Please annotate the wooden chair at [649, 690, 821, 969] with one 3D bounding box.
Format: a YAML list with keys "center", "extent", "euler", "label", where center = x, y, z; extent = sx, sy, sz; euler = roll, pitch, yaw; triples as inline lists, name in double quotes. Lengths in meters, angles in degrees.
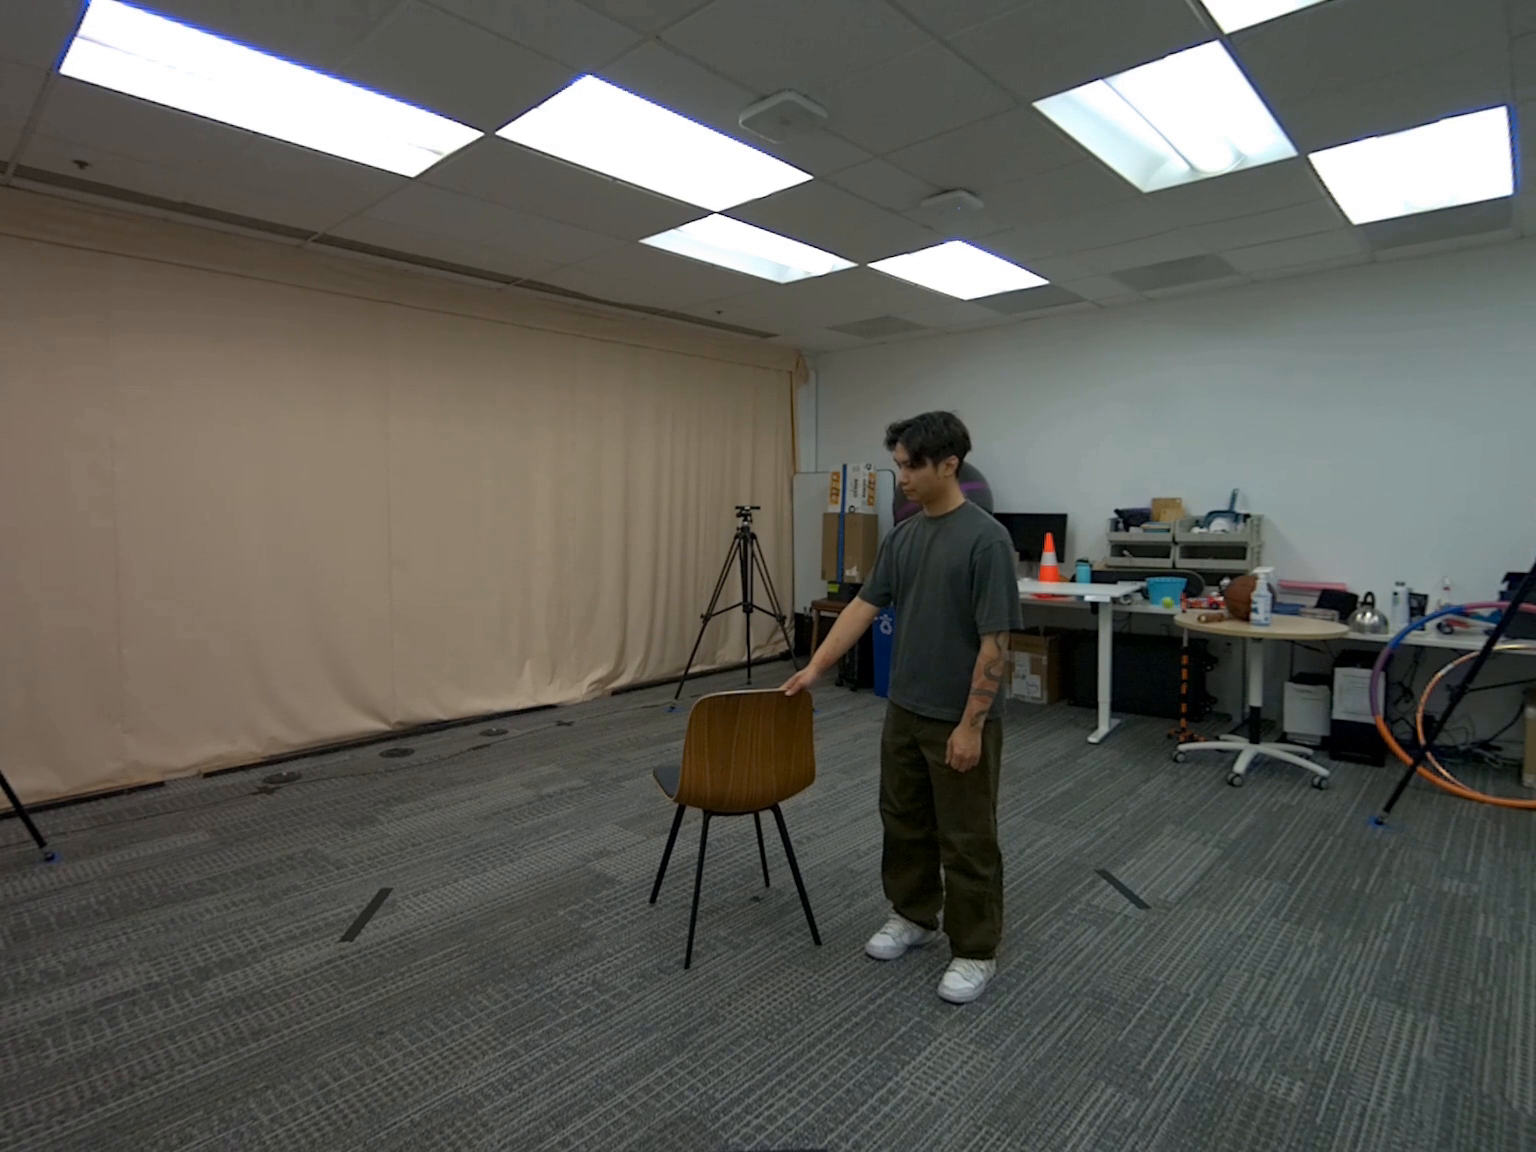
- center: [-0.123, 0.735, 2.787]
  extent: [0.469, 0.873, 0.536]
  euler: [-2, 8, -20]
  label: "wooden chair"
